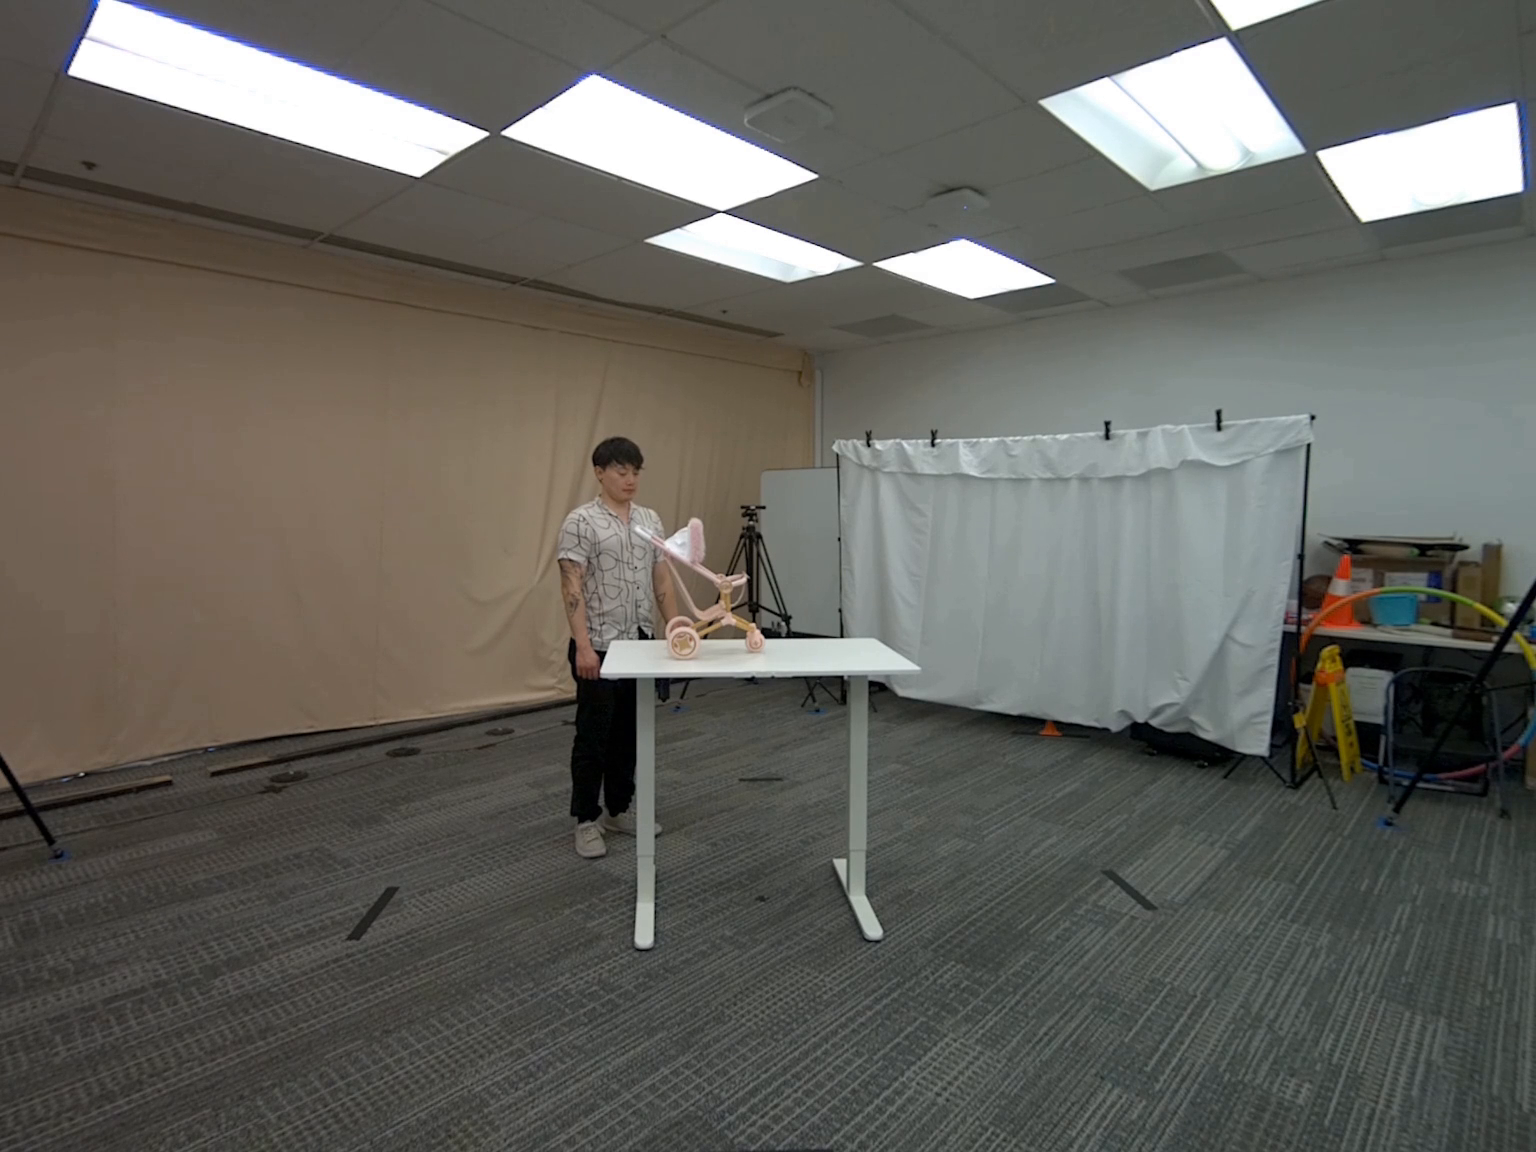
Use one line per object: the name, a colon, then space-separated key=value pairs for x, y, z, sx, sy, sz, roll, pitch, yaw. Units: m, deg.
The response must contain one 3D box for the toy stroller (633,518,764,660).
toy stroller: x=-0.224 y=0.044 z=2.900 sx=0.342 sy=0.533 sz=0.282 roll=-15 pitch=4 yaw=0
